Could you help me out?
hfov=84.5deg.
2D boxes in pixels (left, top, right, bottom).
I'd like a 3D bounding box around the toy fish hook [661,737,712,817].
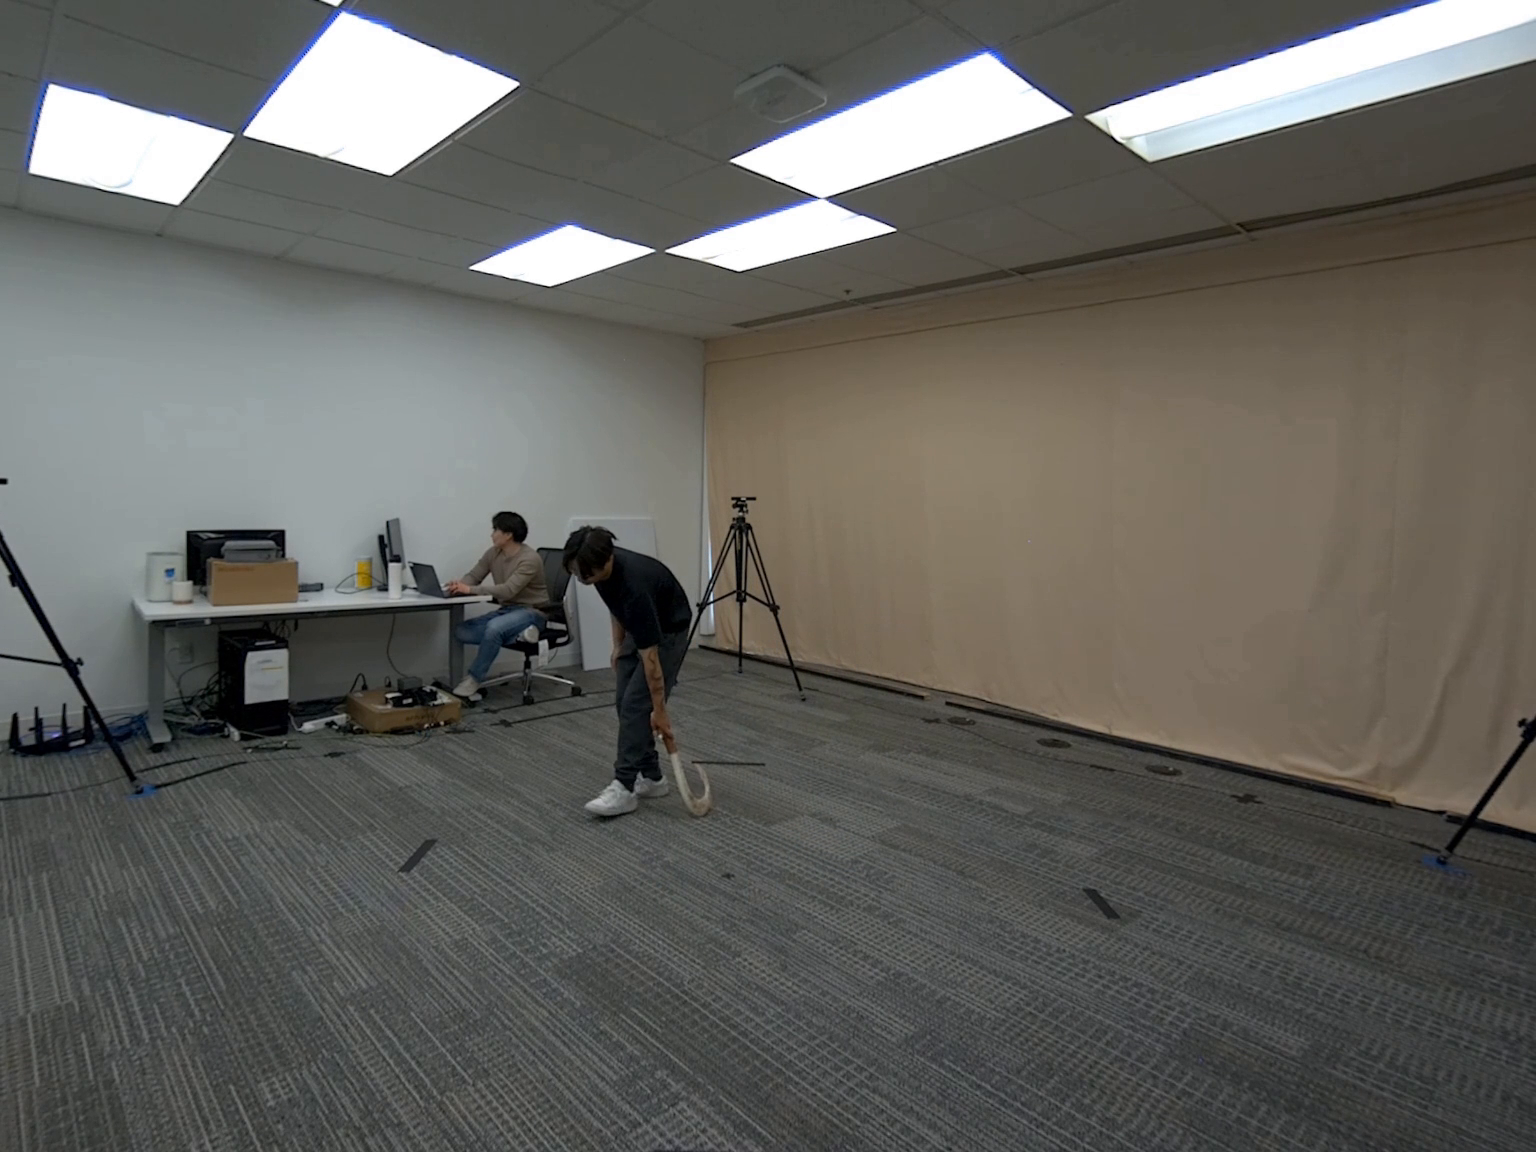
[{"bbox_3d":[-0.388,0.824,3.744,0.049,0.507,0.222,-24,-1,20],"label":"toy fish hook"}]
